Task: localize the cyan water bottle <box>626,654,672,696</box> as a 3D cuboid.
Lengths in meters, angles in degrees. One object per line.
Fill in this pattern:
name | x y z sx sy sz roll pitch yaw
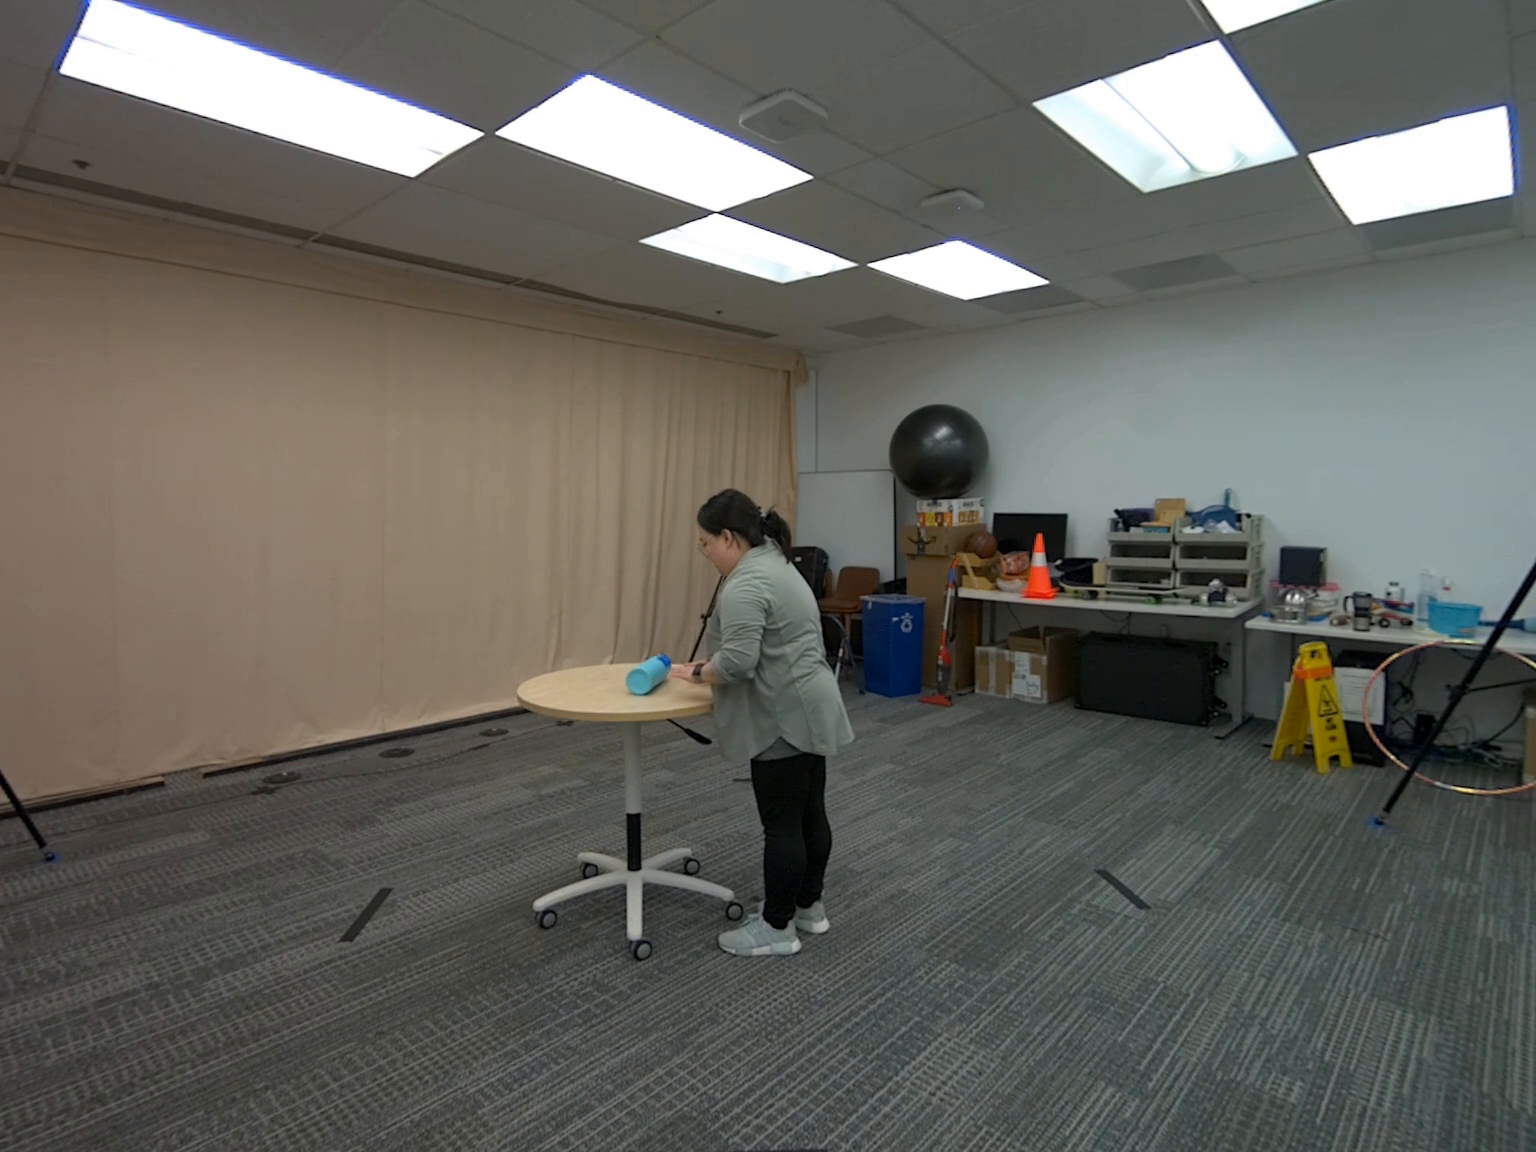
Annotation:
cyan water bottle | -0.394 0.334 2.848 0.093 0.092 0.281 1 5 8
